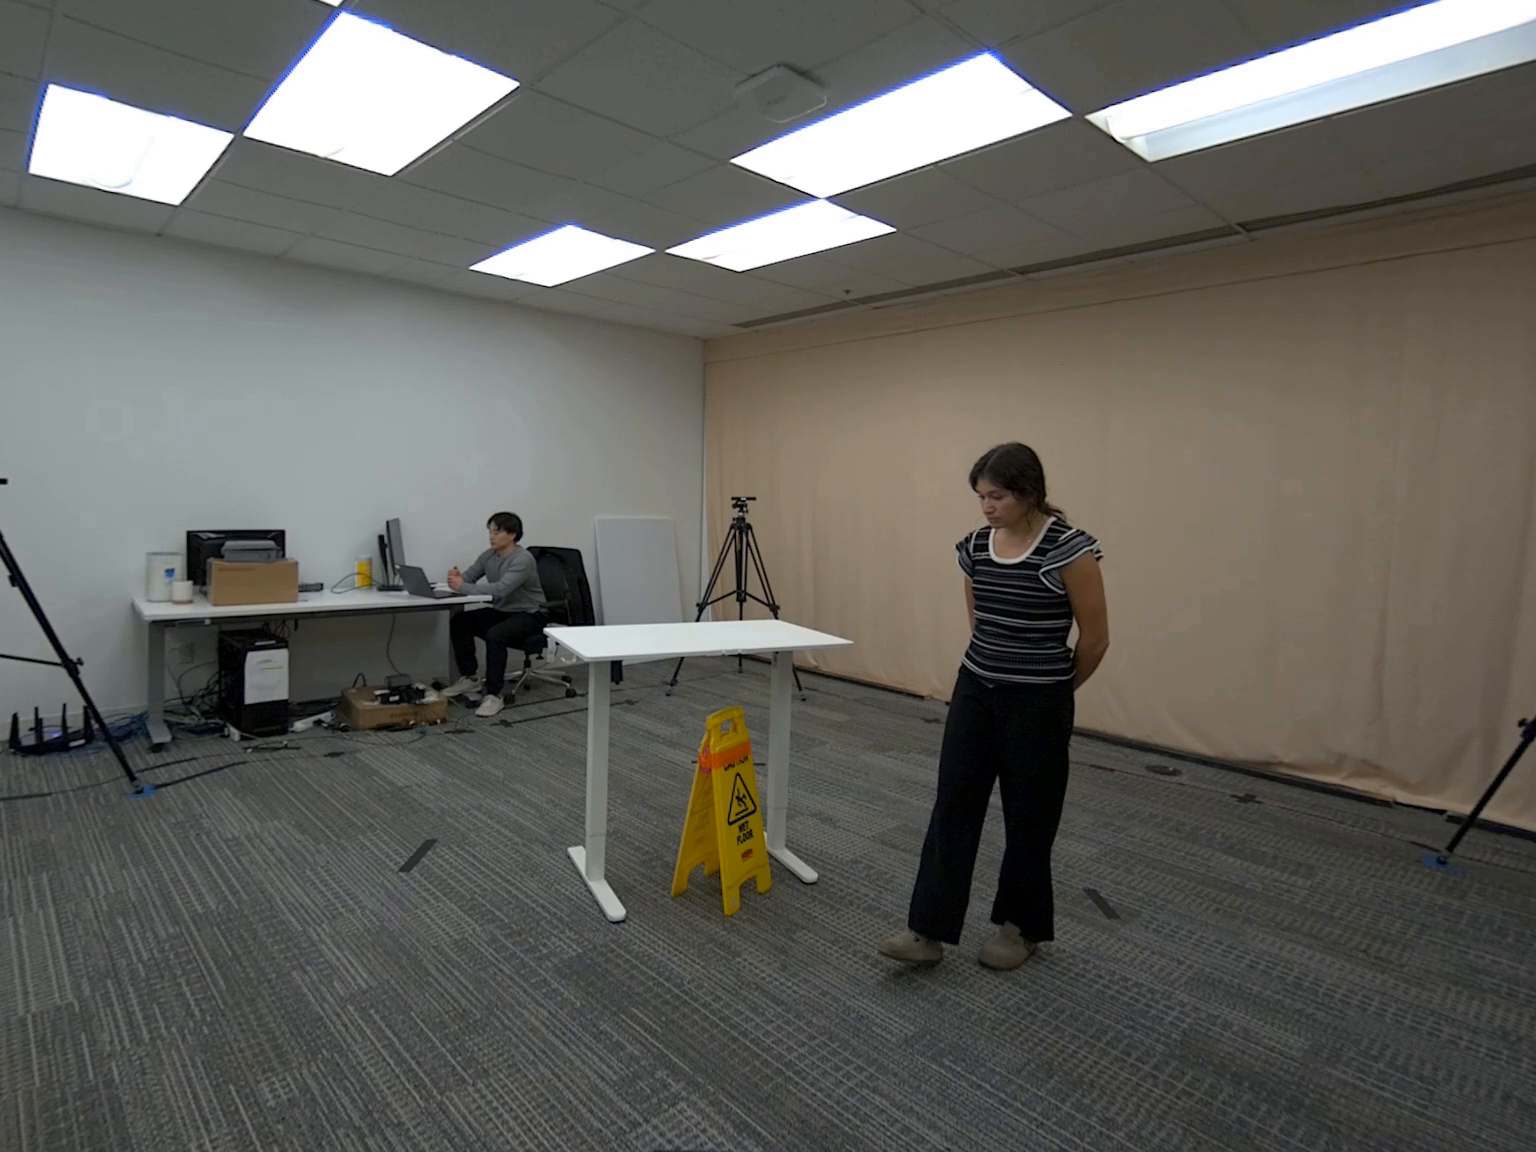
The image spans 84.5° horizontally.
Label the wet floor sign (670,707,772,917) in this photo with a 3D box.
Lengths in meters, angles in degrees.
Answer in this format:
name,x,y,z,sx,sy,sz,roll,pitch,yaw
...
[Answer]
name,x,y,z,sx,sy,sz,roll,pitch,yaw
wet floor sign,-0.165,0.795,2.957,0.296,0.645,0.276,3,4,33
